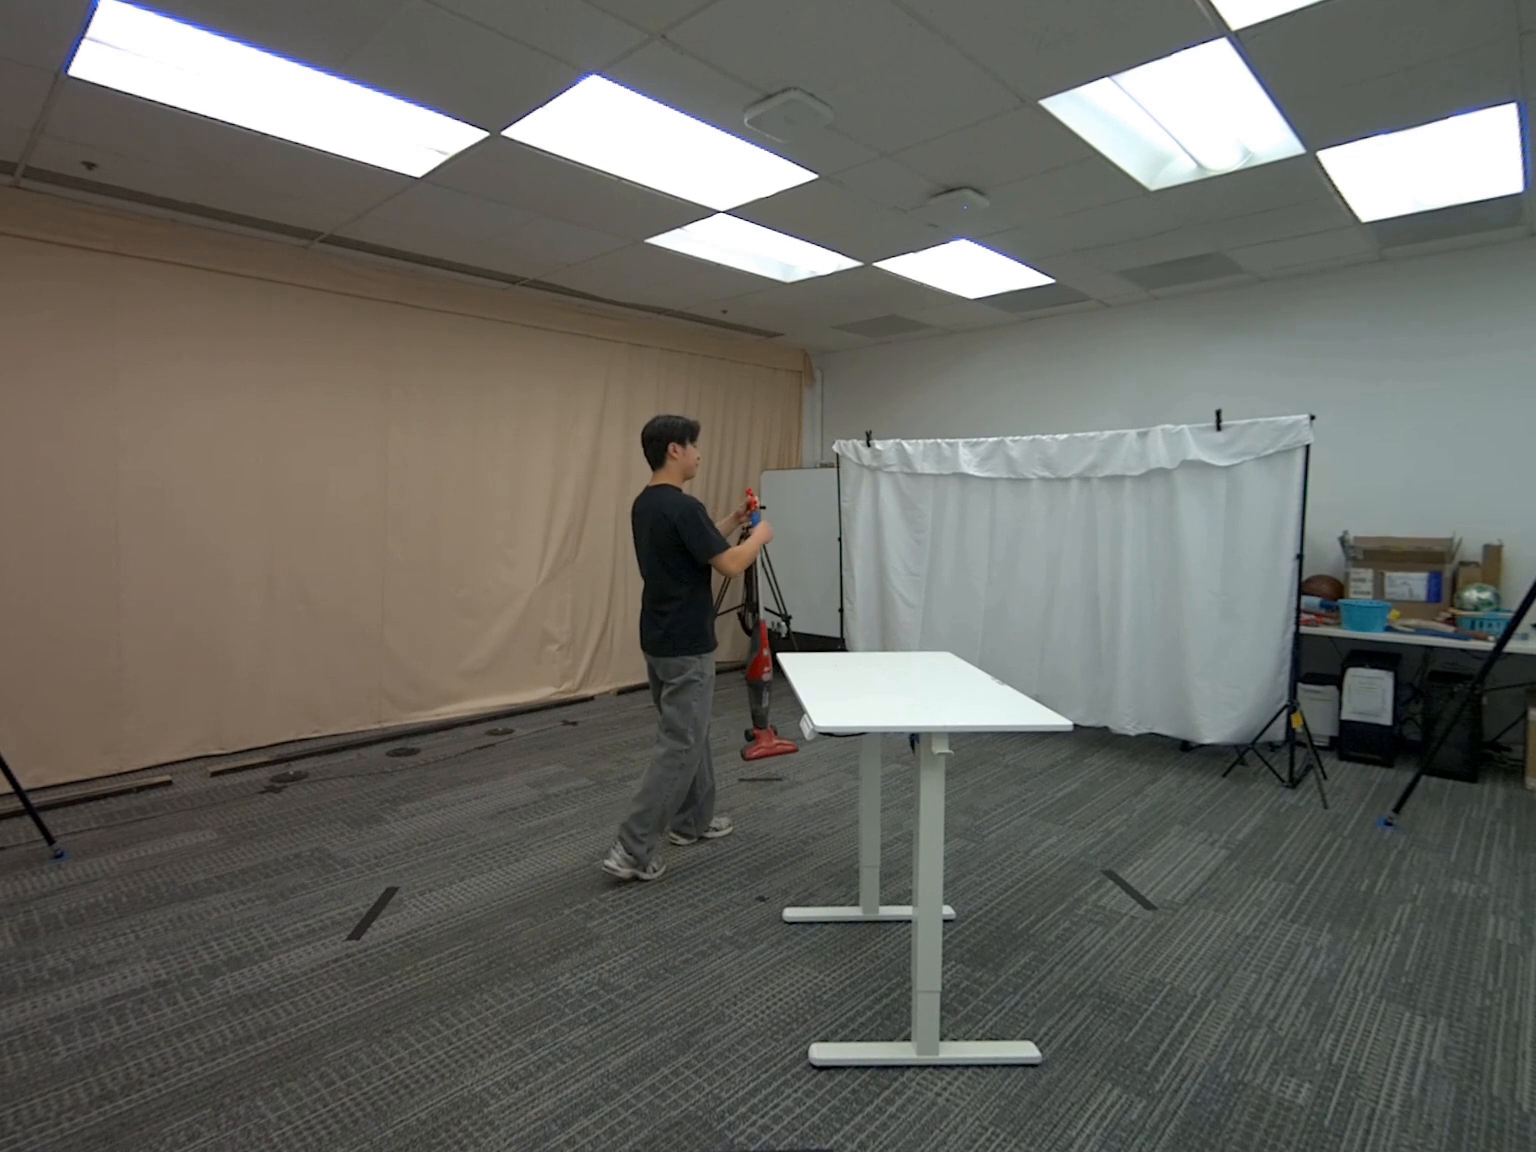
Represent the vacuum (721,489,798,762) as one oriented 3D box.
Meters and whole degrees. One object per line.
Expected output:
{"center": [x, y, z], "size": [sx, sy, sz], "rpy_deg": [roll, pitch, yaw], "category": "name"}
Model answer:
{"center": [-0.042, 0.179, 3.484], "size": [0.247, 1.049, 0.147], "rpy_deg": [-3, 1, -25], "category": "vacuum"}
